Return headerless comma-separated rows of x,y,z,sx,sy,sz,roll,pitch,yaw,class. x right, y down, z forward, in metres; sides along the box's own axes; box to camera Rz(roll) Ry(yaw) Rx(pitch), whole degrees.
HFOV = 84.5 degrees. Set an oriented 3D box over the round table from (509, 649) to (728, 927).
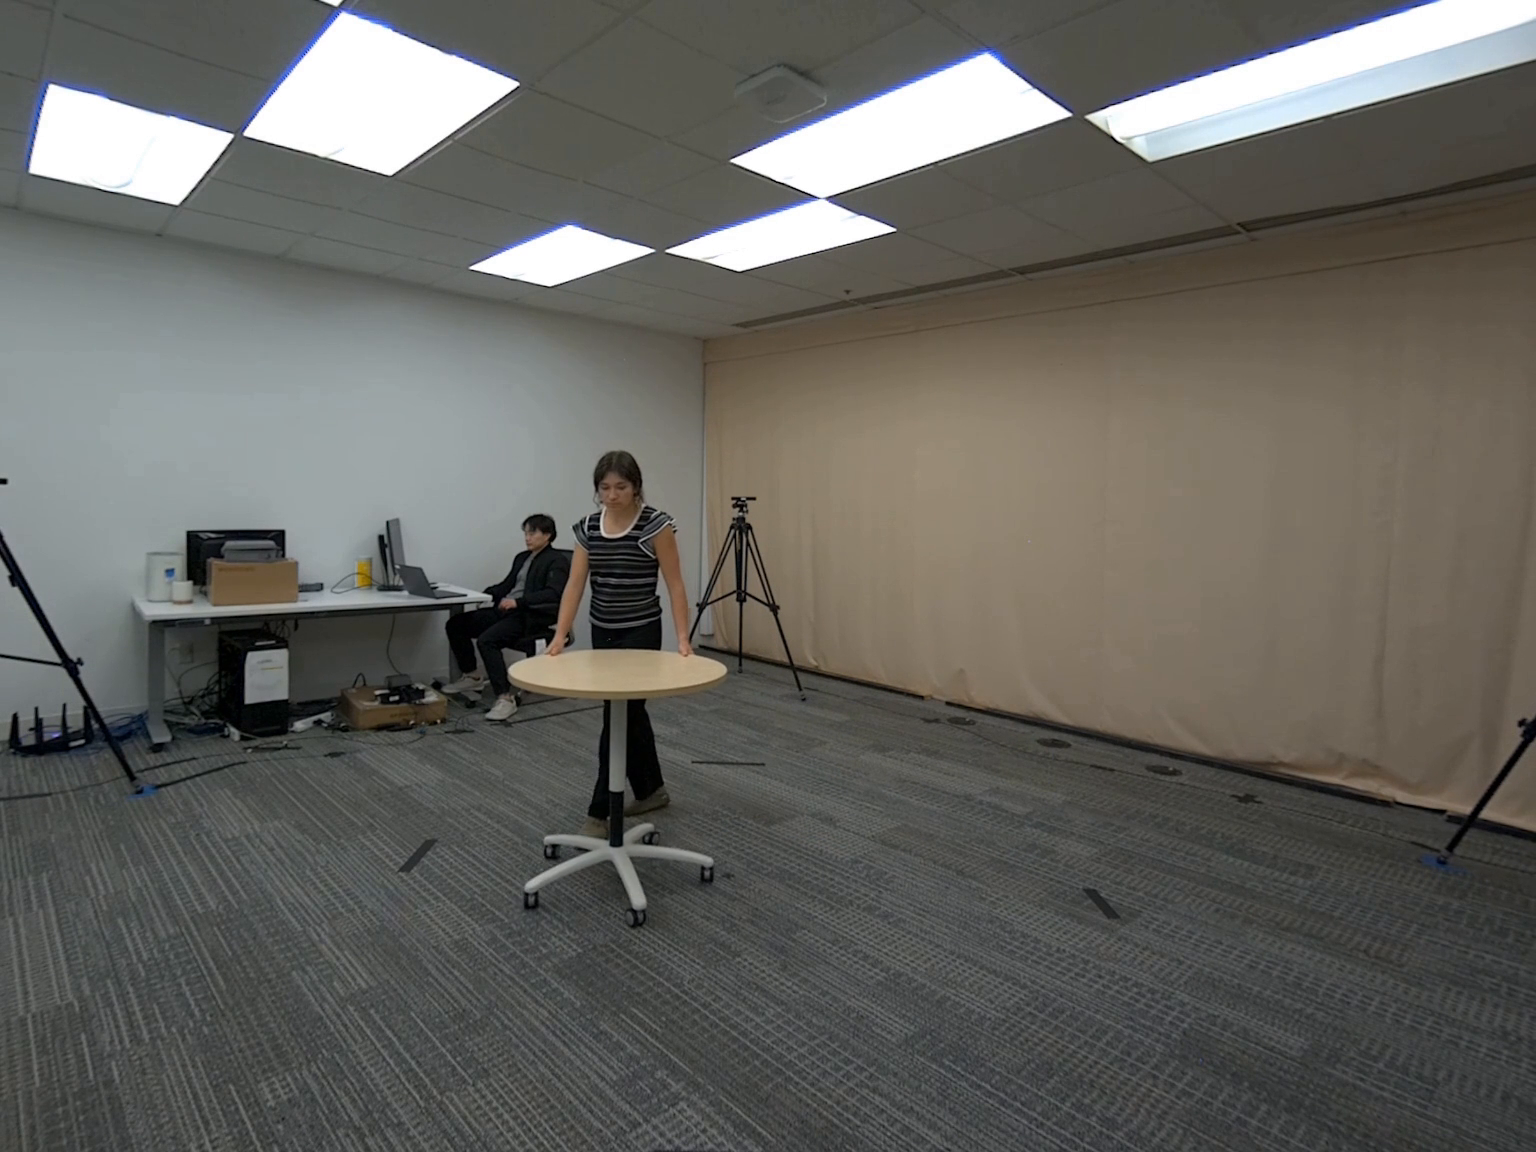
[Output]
-0.541,0.720,3.004,0.763,0.792,0.766,1,4,-1,round table
